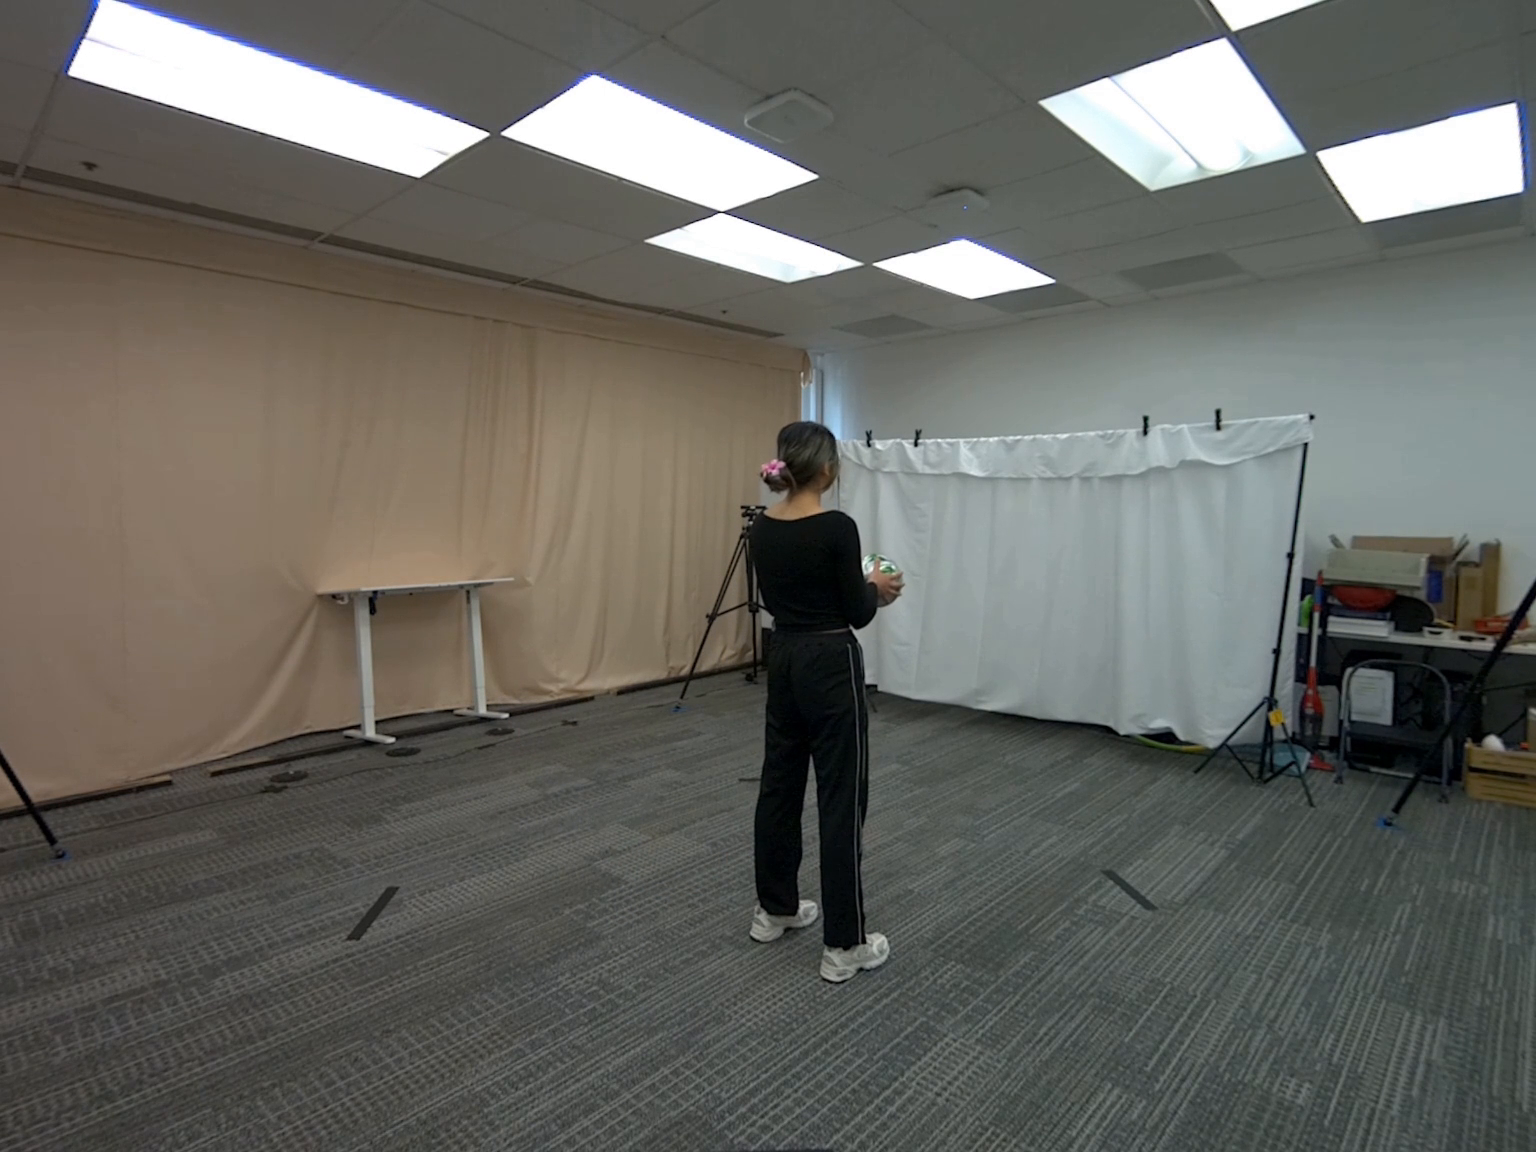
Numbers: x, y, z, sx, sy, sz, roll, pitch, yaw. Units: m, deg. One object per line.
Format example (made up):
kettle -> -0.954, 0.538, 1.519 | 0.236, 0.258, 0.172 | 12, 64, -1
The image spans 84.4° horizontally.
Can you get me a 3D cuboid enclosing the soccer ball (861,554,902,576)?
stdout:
soccer ball -> 0.378, 0.018, 2.895 | 0.187, 0.187, 0.188 | 0, 4, -2
